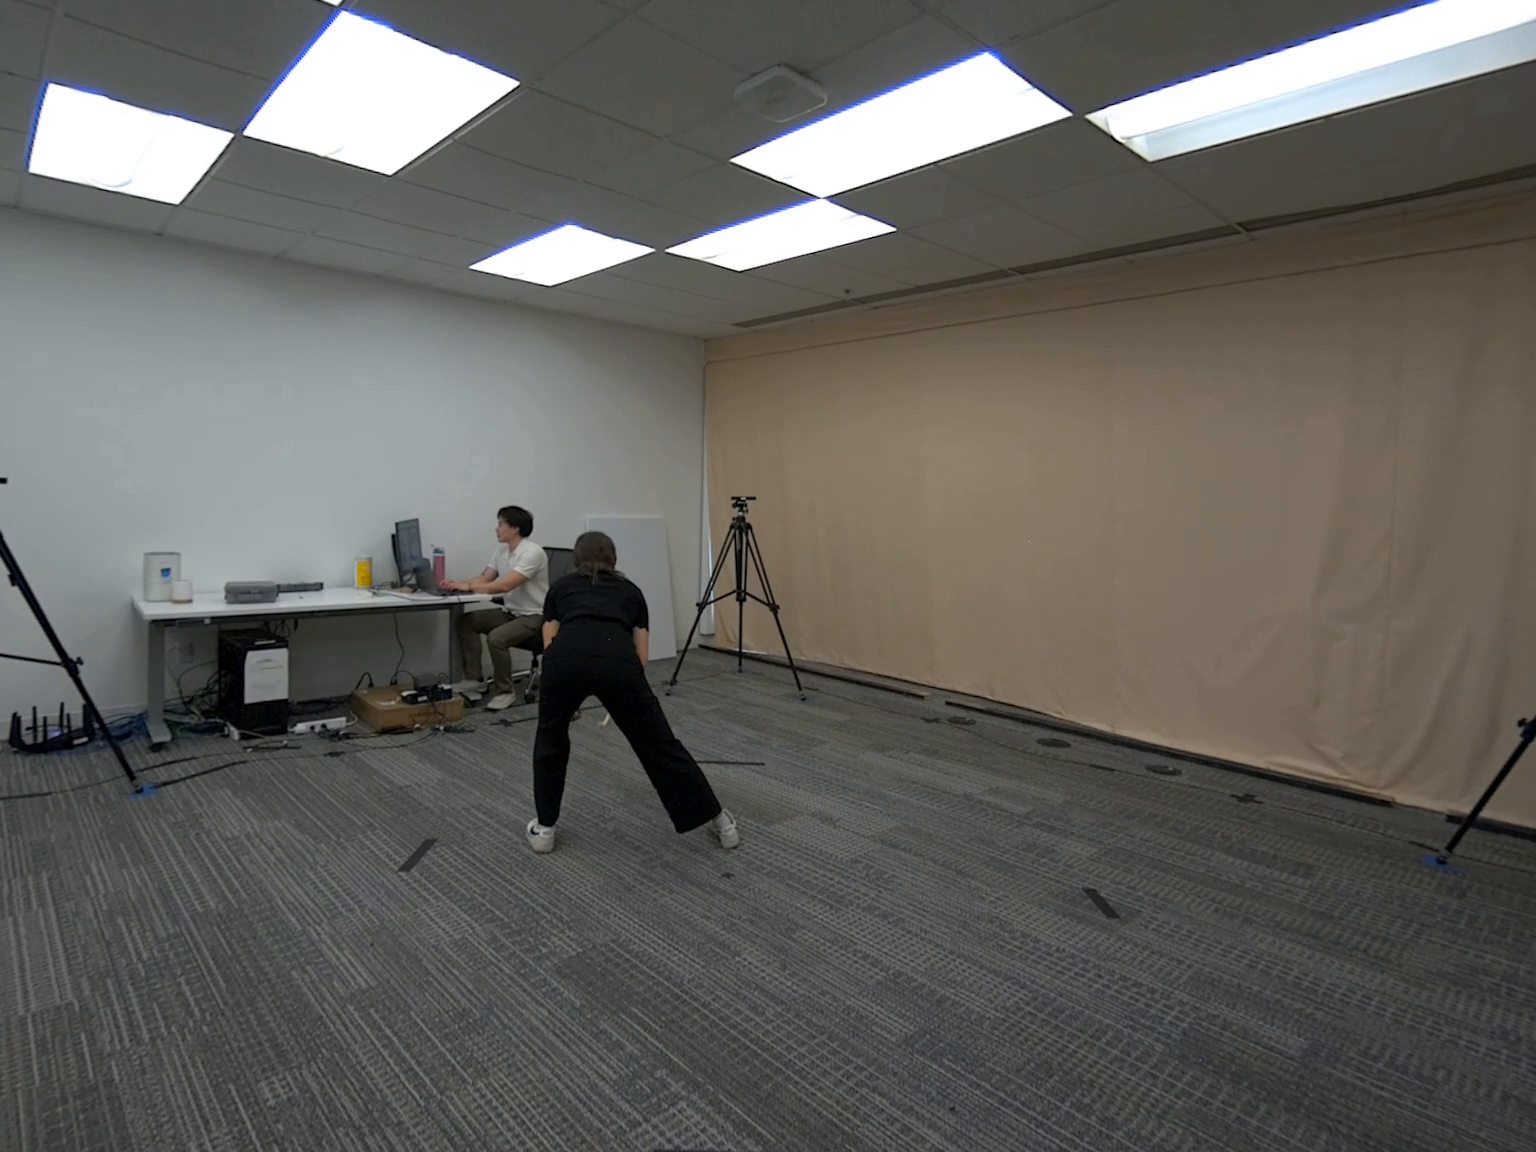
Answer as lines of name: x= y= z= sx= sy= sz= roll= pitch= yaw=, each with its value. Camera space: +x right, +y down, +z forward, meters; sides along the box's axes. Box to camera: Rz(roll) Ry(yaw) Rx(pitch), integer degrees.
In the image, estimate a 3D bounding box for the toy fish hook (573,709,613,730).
toy fish hook: x=-0.719 y=0.574 z=3.732 sx=0.048 sy=0.226 sz=0.499 roll=19 pitch=-19 yaw=5
